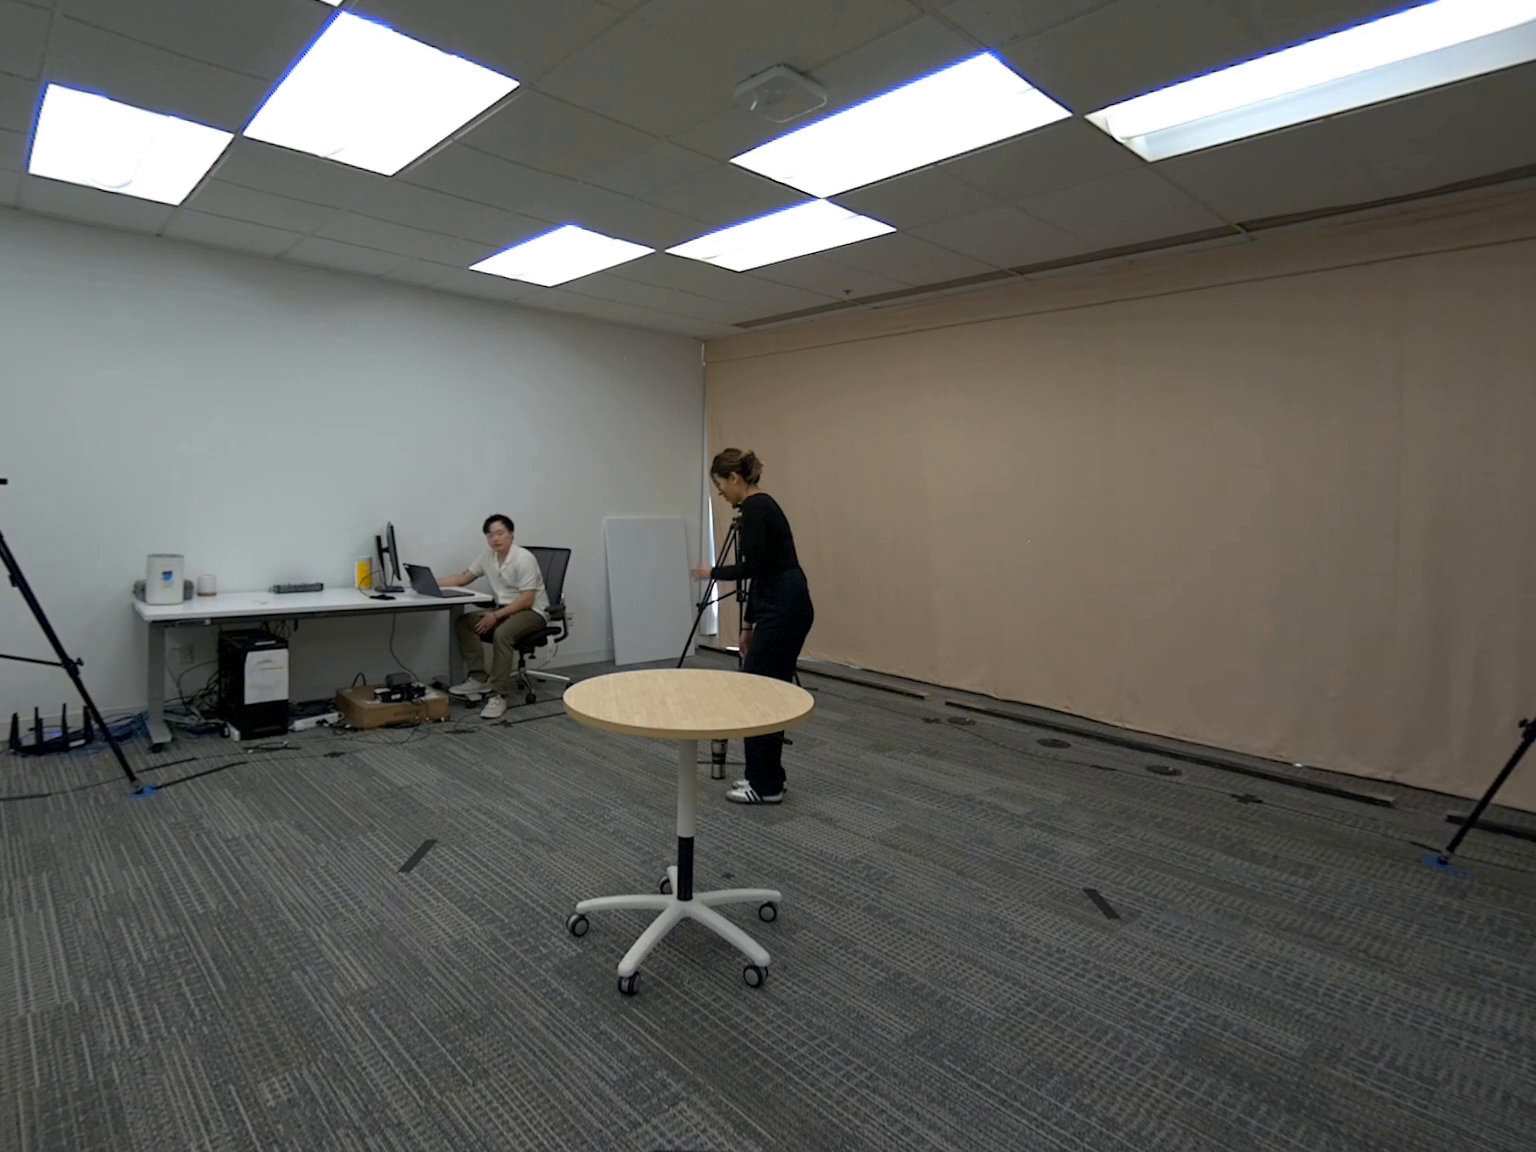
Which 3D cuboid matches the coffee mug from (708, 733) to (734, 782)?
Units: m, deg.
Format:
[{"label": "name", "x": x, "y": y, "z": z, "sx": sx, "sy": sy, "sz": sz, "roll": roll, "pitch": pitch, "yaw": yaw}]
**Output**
[{"label": "coffee mug", "x": -0.236, "y": 0.906, "z": 4.236, "sx": 0.089, "sy": 0.202, "sz": 0.121, "roll": -2, "pitch": 4, "yaw": 13}]
